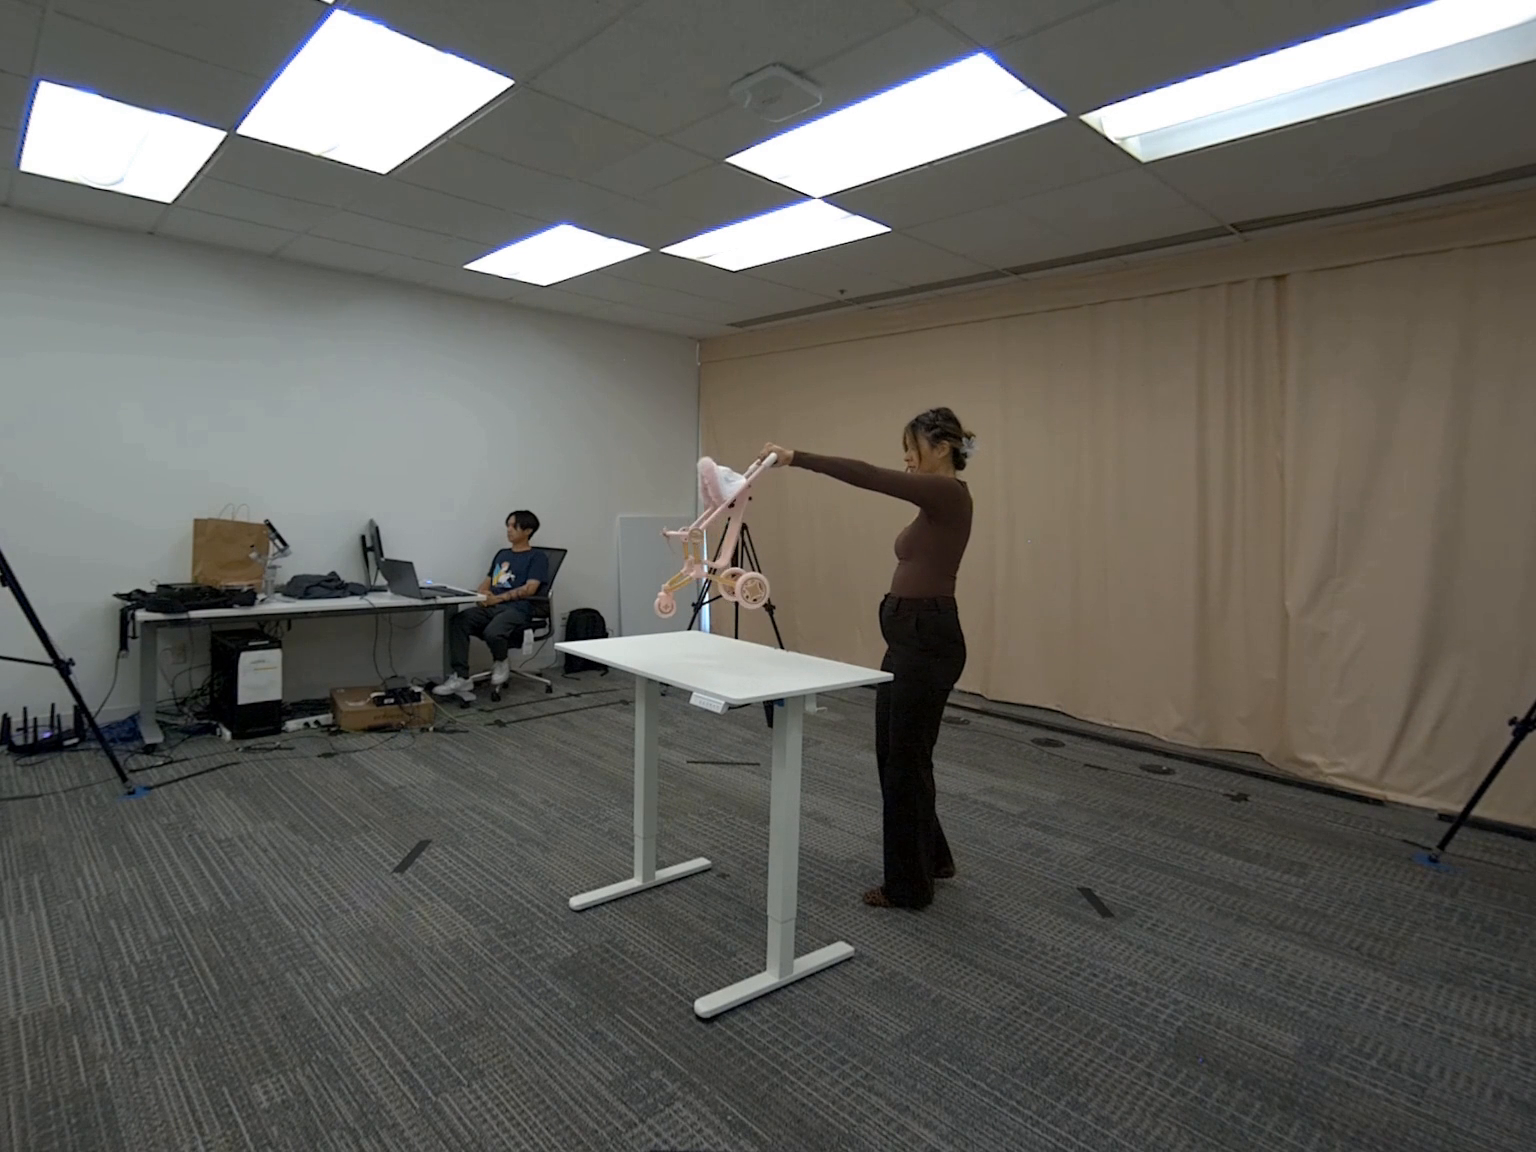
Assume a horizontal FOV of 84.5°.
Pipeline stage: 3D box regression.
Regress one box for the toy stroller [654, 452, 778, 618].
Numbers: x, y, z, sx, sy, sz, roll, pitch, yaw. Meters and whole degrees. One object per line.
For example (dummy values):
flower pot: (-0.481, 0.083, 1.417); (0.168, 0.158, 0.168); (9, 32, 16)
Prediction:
toy stroller: (-0.181, -0.125, 2.623); (0.339, 0.534, 0.284); (4, 1, -9)
